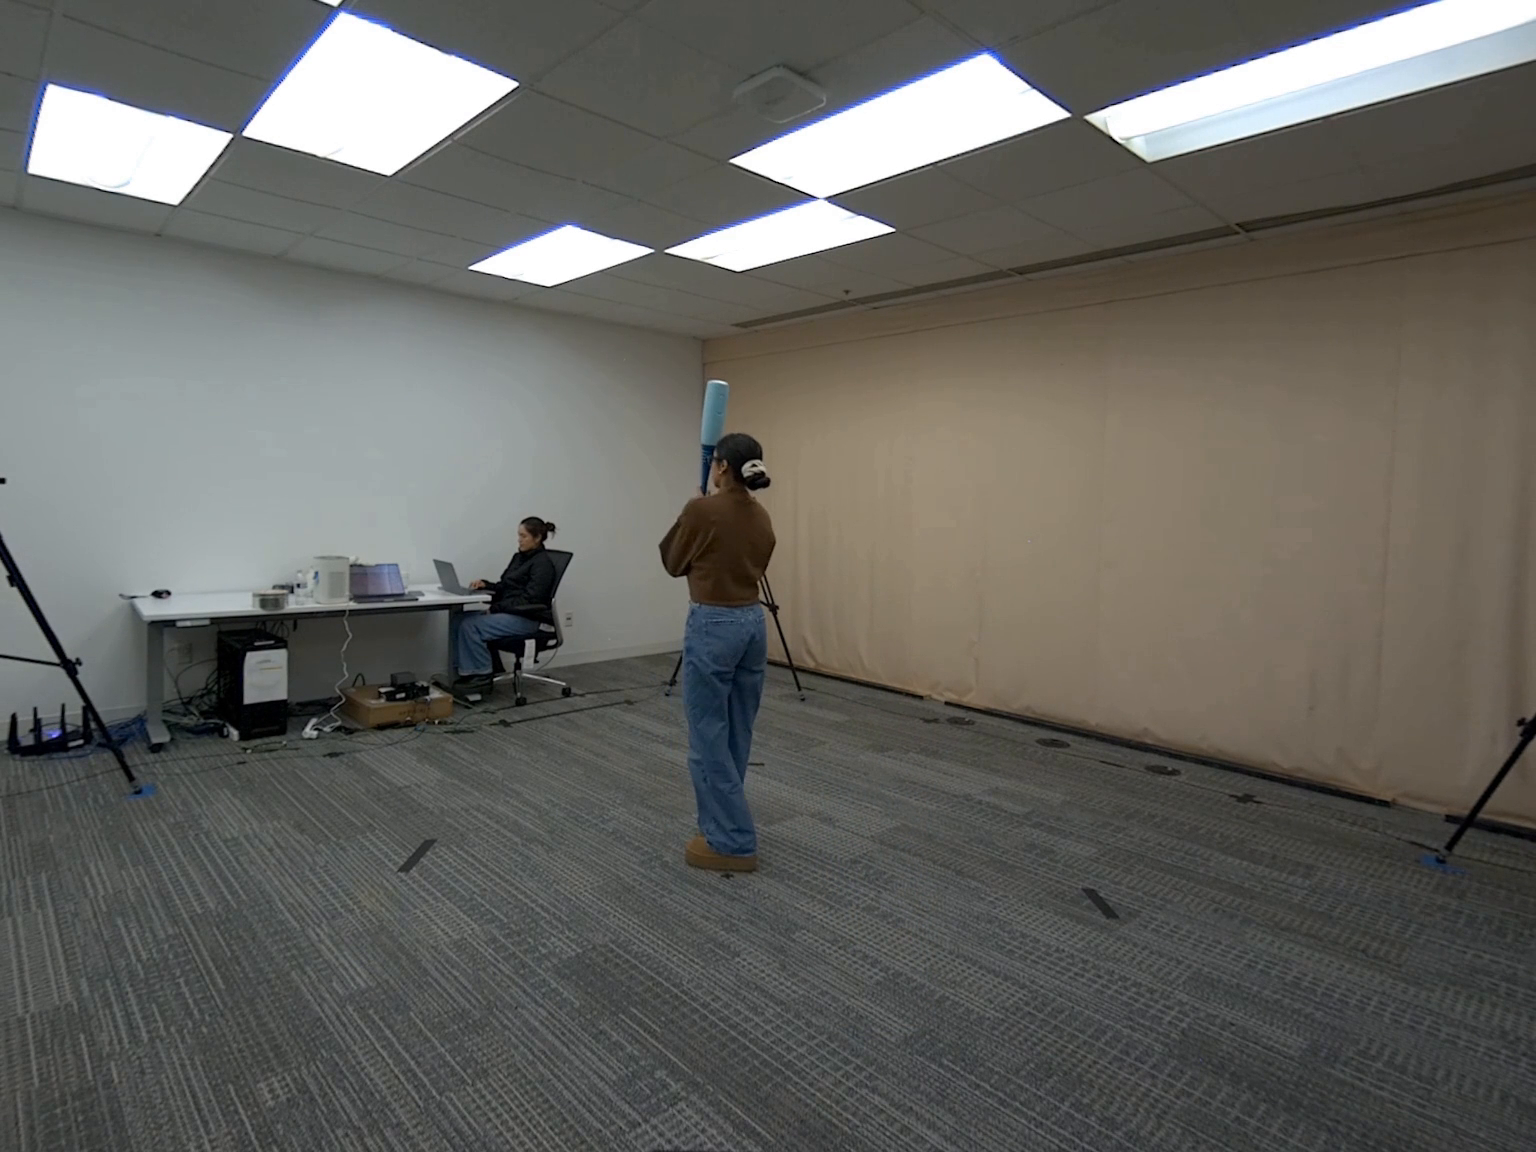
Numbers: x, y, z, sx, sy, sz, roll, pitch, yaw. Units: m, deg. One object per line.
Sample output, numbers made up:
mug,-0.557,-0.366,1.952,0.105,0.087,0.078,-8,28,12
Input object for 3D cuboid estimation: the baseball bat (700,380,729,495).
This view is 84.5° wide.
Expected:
baseball bat,-0.243,-0.505,3.340,0.089,0.539,0.090,8,10,-3
